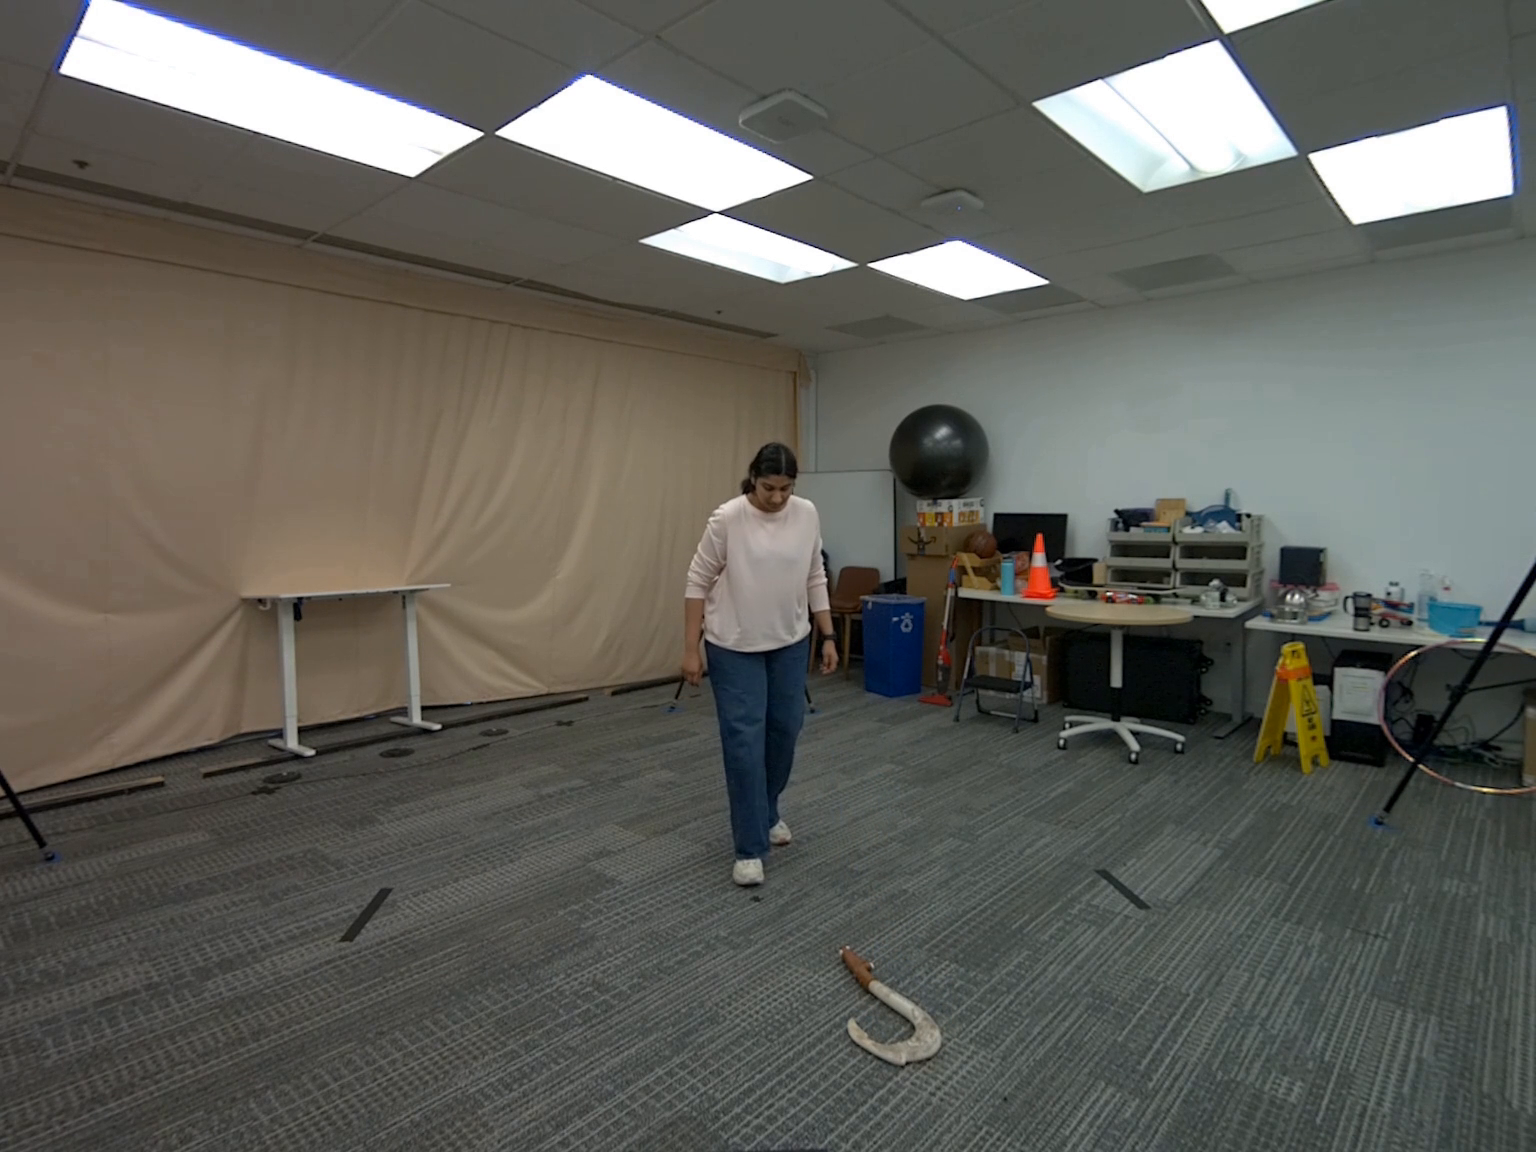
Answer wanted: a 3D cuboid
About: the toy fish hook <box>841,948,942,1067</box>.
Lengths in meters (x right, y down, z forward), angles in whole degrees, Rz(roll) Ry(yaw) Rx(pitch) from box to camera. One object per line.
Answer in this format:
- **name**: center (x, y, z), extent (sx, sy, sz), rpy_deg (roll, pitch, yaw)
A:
- **toy fish hook**: center (0.284, 1.175, 2.334), extent (0.220, 0.048, 0.518), rpy_deg (-1, 5, -21)
